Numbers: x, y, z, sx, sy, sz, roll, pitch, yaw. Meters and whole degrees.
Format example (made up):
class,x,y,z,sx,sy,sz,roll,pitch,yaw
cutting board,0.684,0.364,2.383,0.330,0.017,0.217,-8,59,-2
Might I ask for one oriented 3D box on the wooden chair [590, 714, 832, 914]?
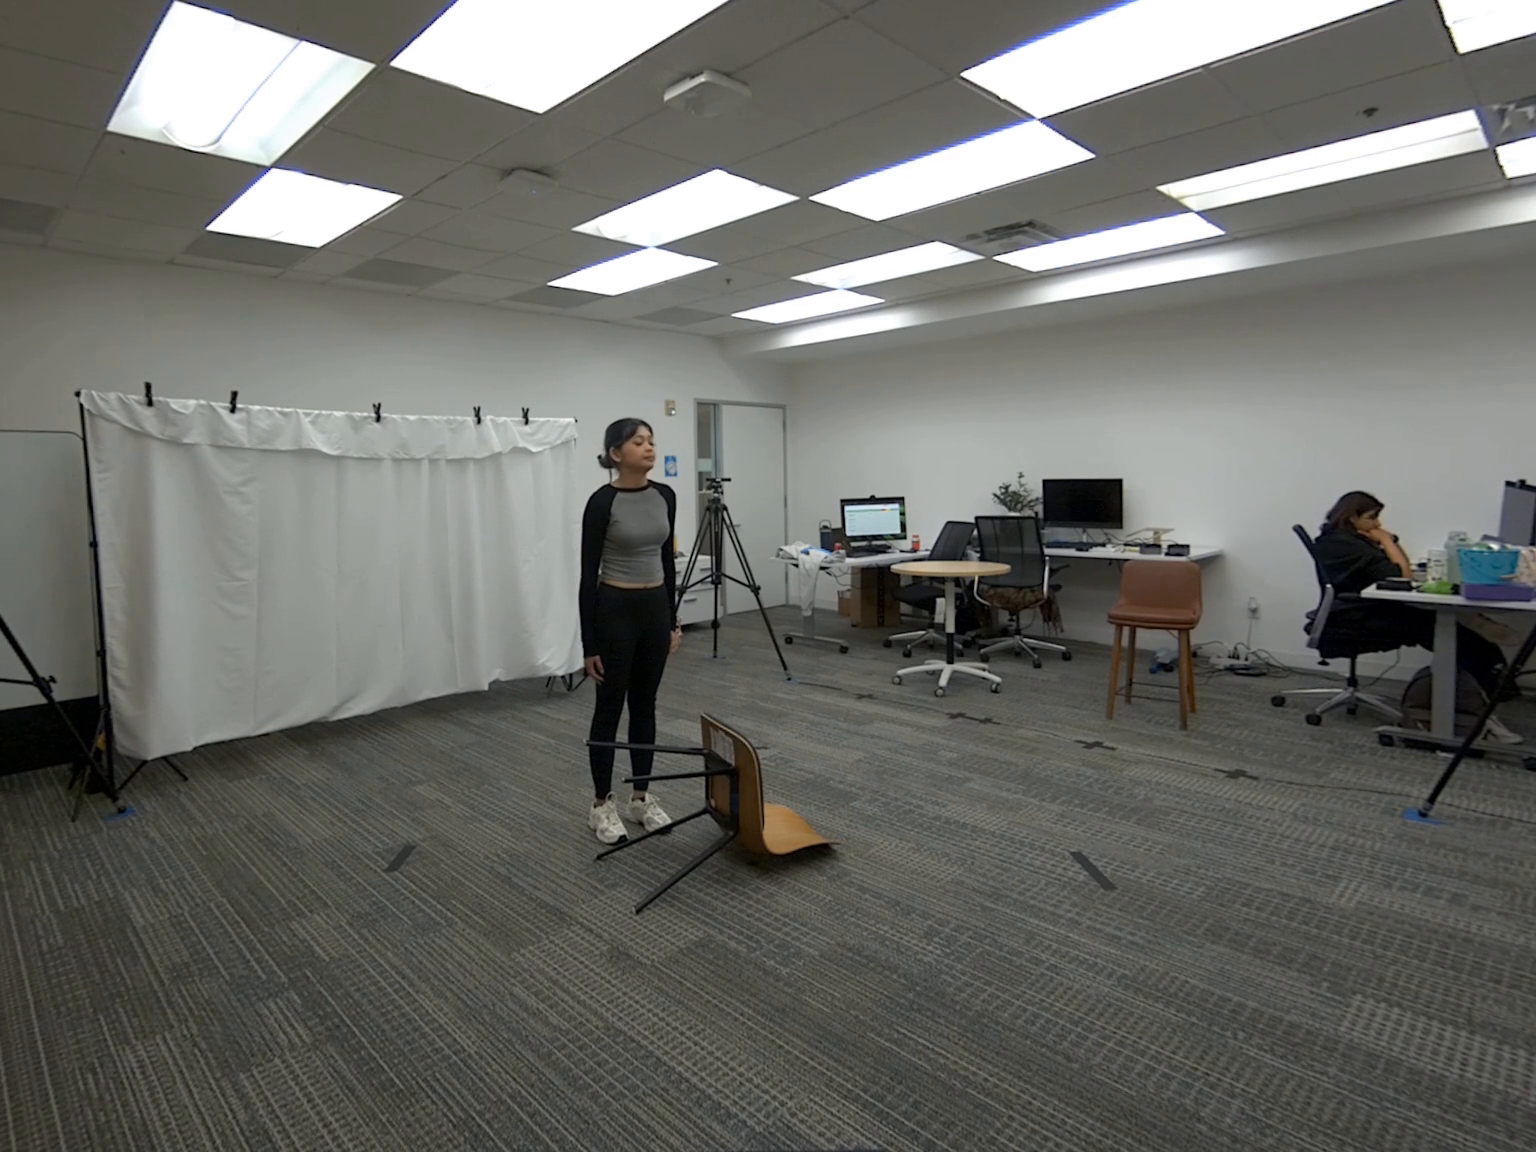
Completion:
class,x,y,z,sx,sy,sz,roll,pitch,yaw
wooden chair,-0.174,0.781,3.110,0.858,0.521,0.490,-3,5,-26
